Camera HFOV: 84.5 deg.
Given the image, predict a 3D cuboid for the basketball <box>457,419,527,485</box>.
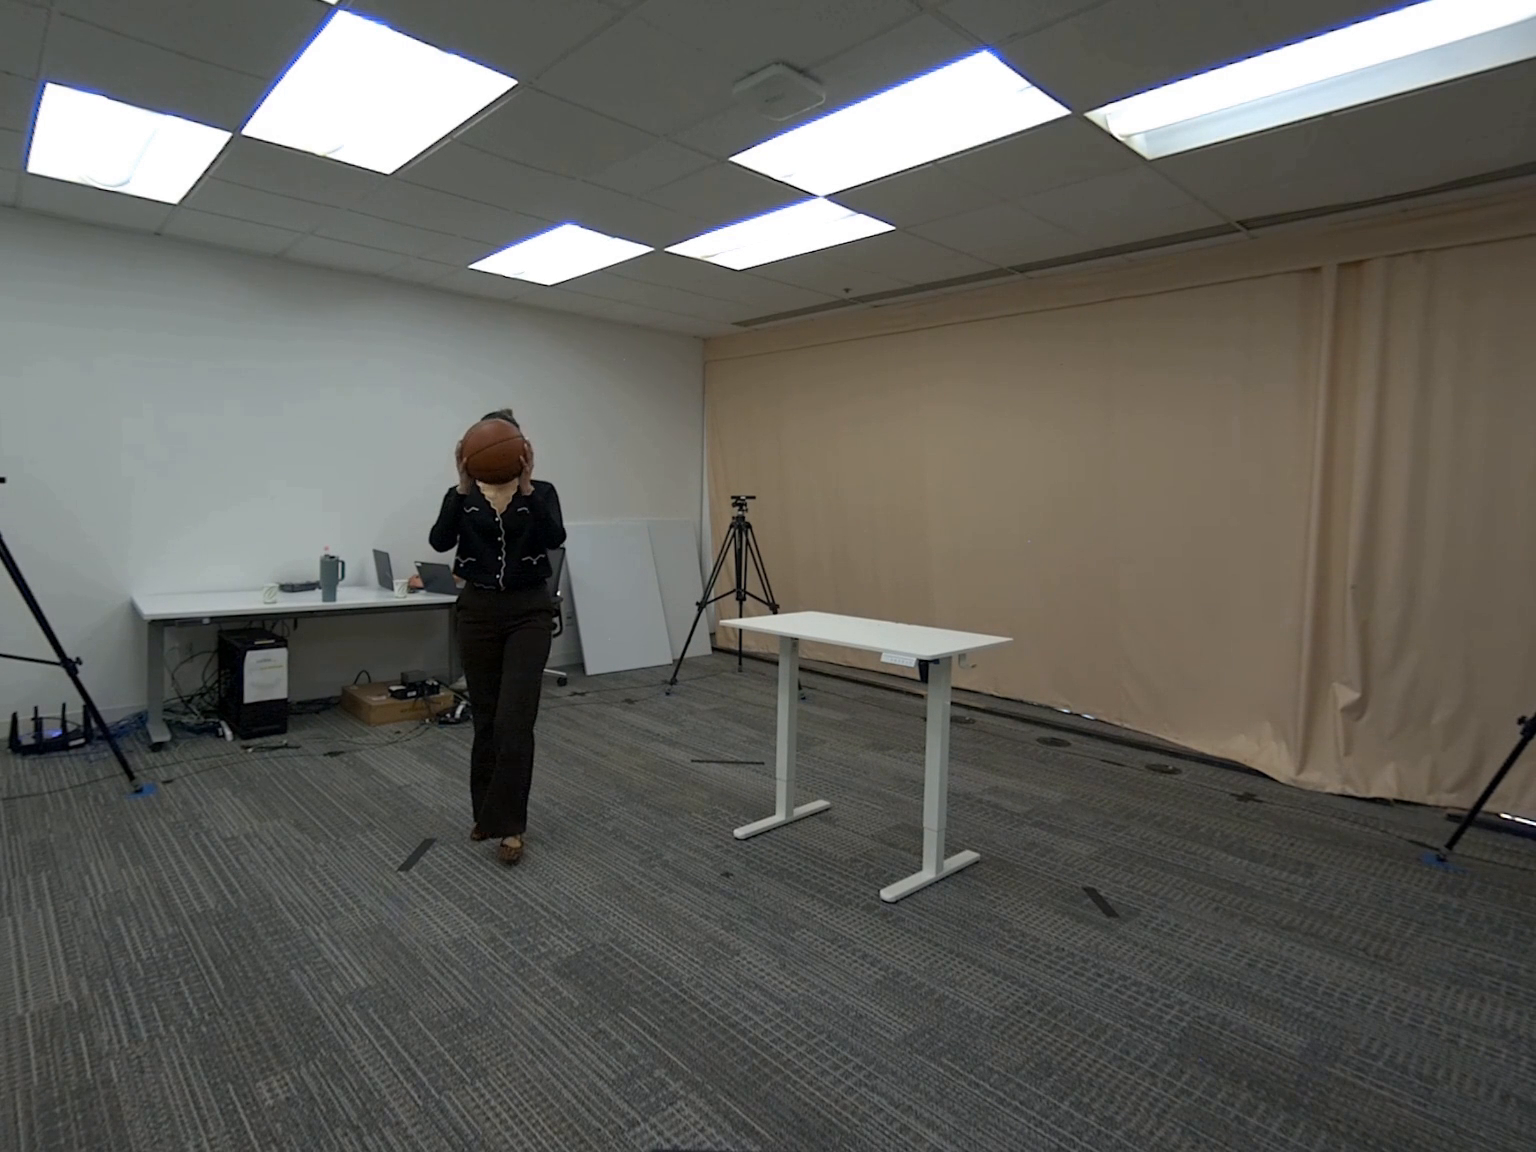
[{"bbox_3d":[-0.995,-0.445,3.011,0.236,0.235,0.237,1,4,-1],"label":"basketball"}]
